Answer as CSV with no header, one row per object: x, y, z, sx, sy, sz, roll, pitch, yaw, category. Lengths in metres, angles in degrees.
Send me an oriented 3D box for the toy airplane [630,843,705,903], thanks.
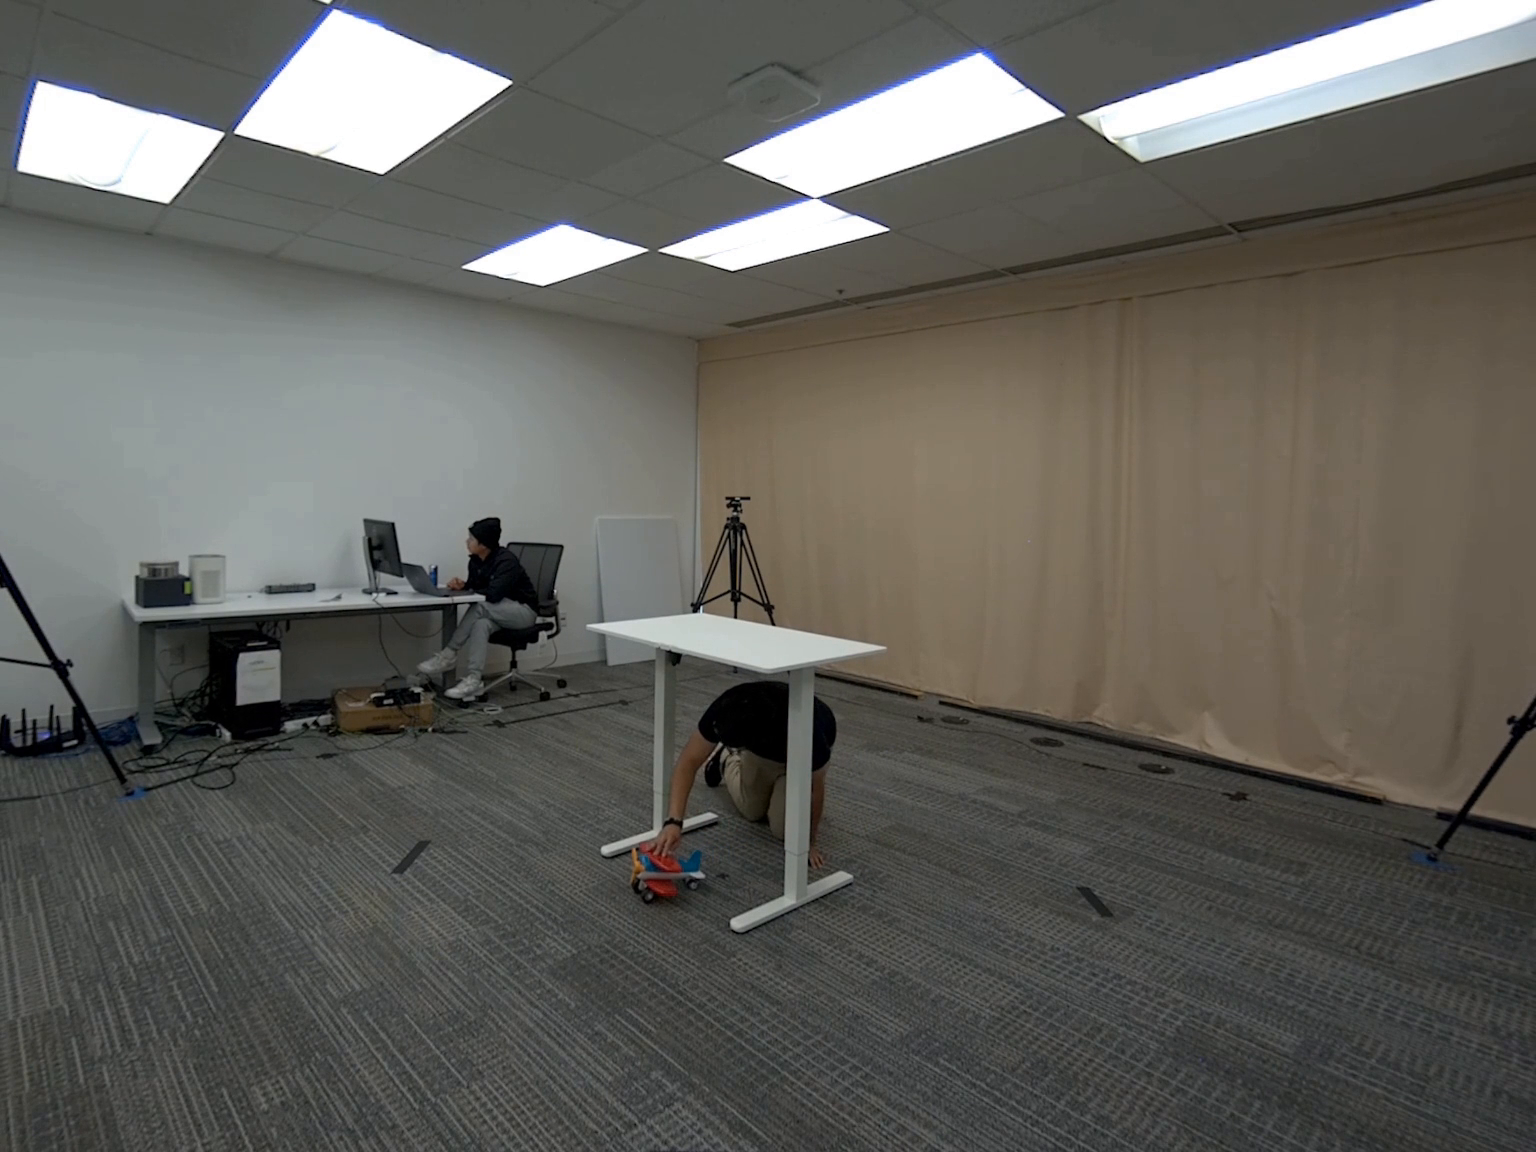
-0.376,1.042,2.971,0.257,0.156,0.254,5,7,33,toy airplane
